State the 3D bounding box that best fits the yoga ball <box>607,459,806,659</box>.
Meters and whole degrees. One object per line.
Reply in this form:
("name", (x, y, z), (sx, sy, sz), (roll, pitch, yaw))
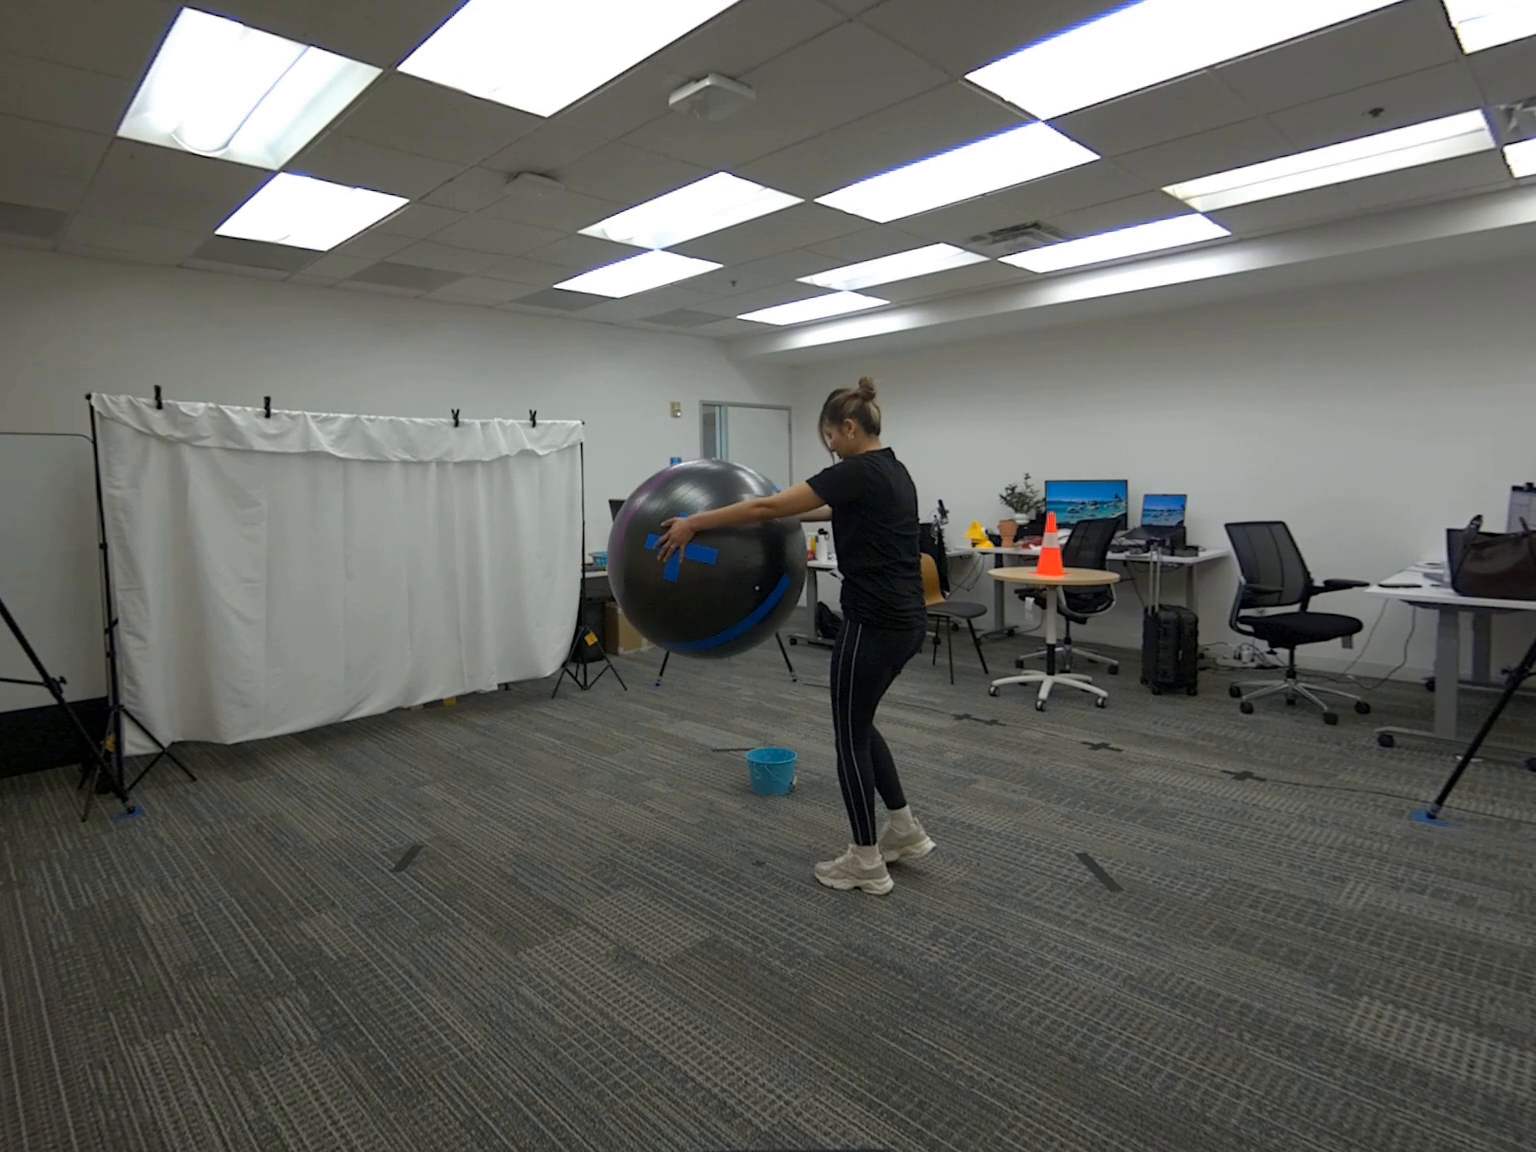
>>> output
("yoga ball", (-0.229, -0.050, 3.241), (0.757, 0.755, 0.762), (-1, 5, -2))
